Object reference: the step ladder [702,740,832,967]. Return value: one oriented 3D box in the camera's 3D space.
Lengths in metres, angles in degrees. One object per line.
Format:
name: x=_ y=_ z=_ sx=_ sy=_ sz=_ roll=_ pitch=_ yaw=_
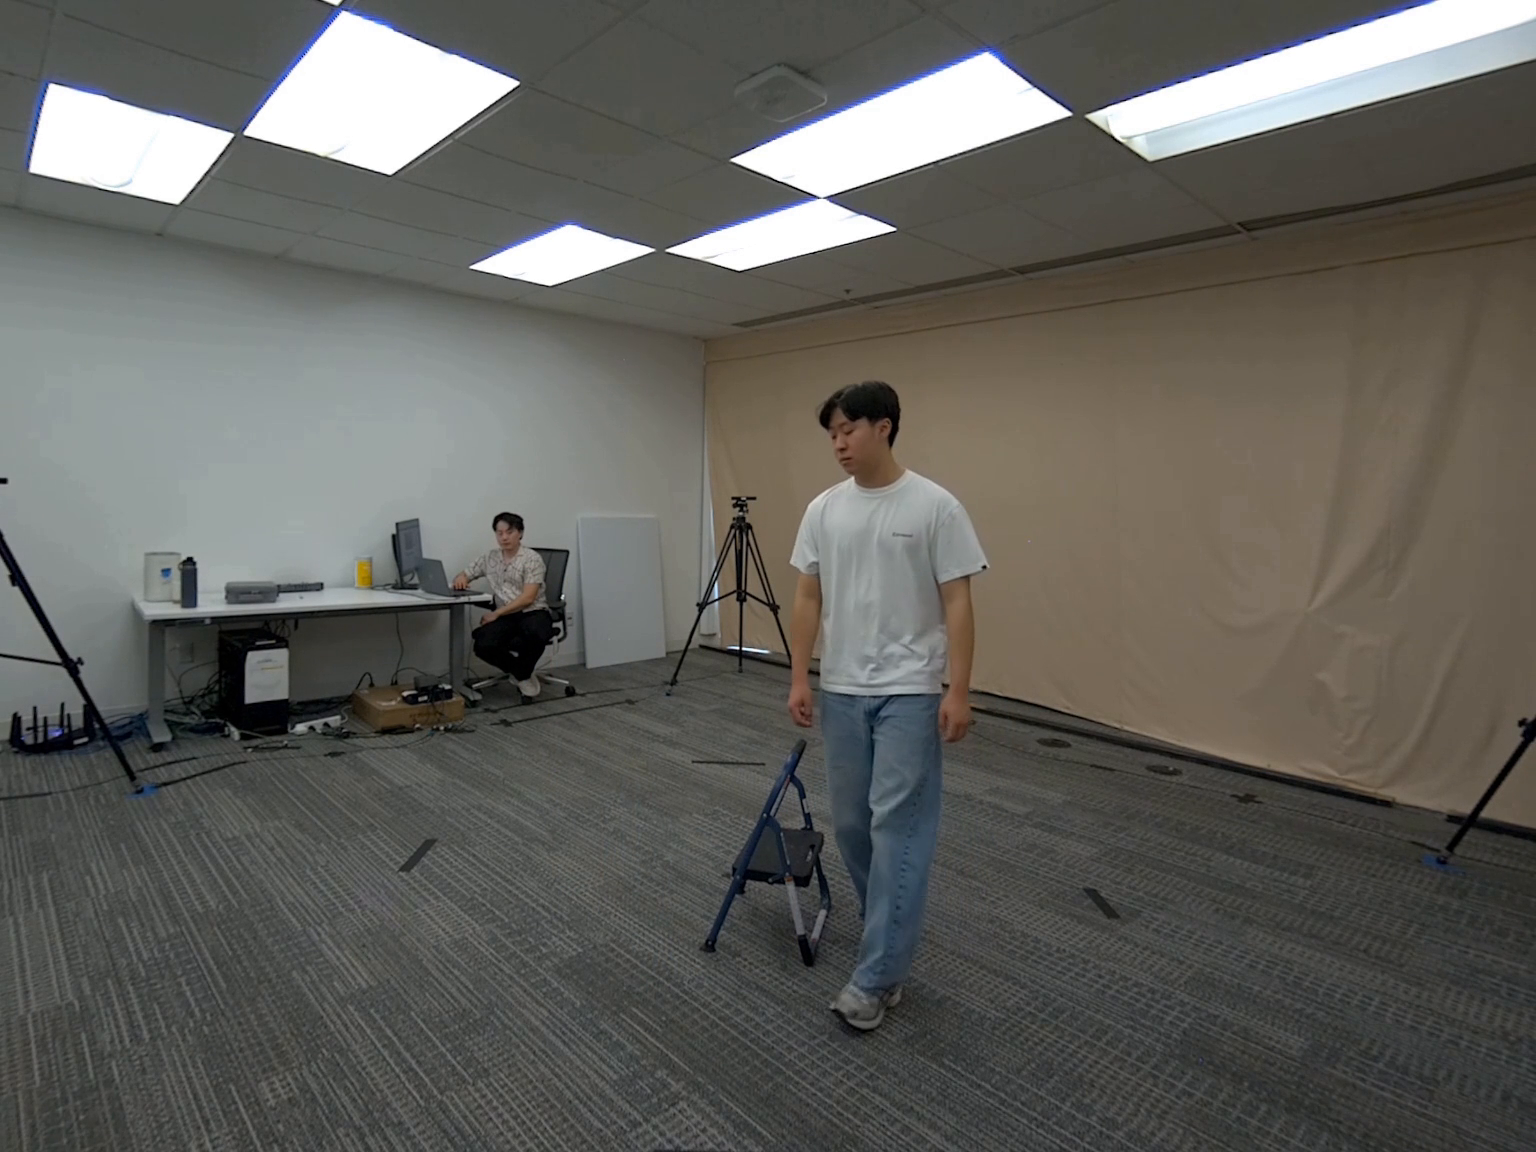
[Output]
step ladder: x=0.013 y=0.840 z=2.728 sx=0.353 sy=0.604 sz=0.427 roll=3 pitch=4 yaw=12
